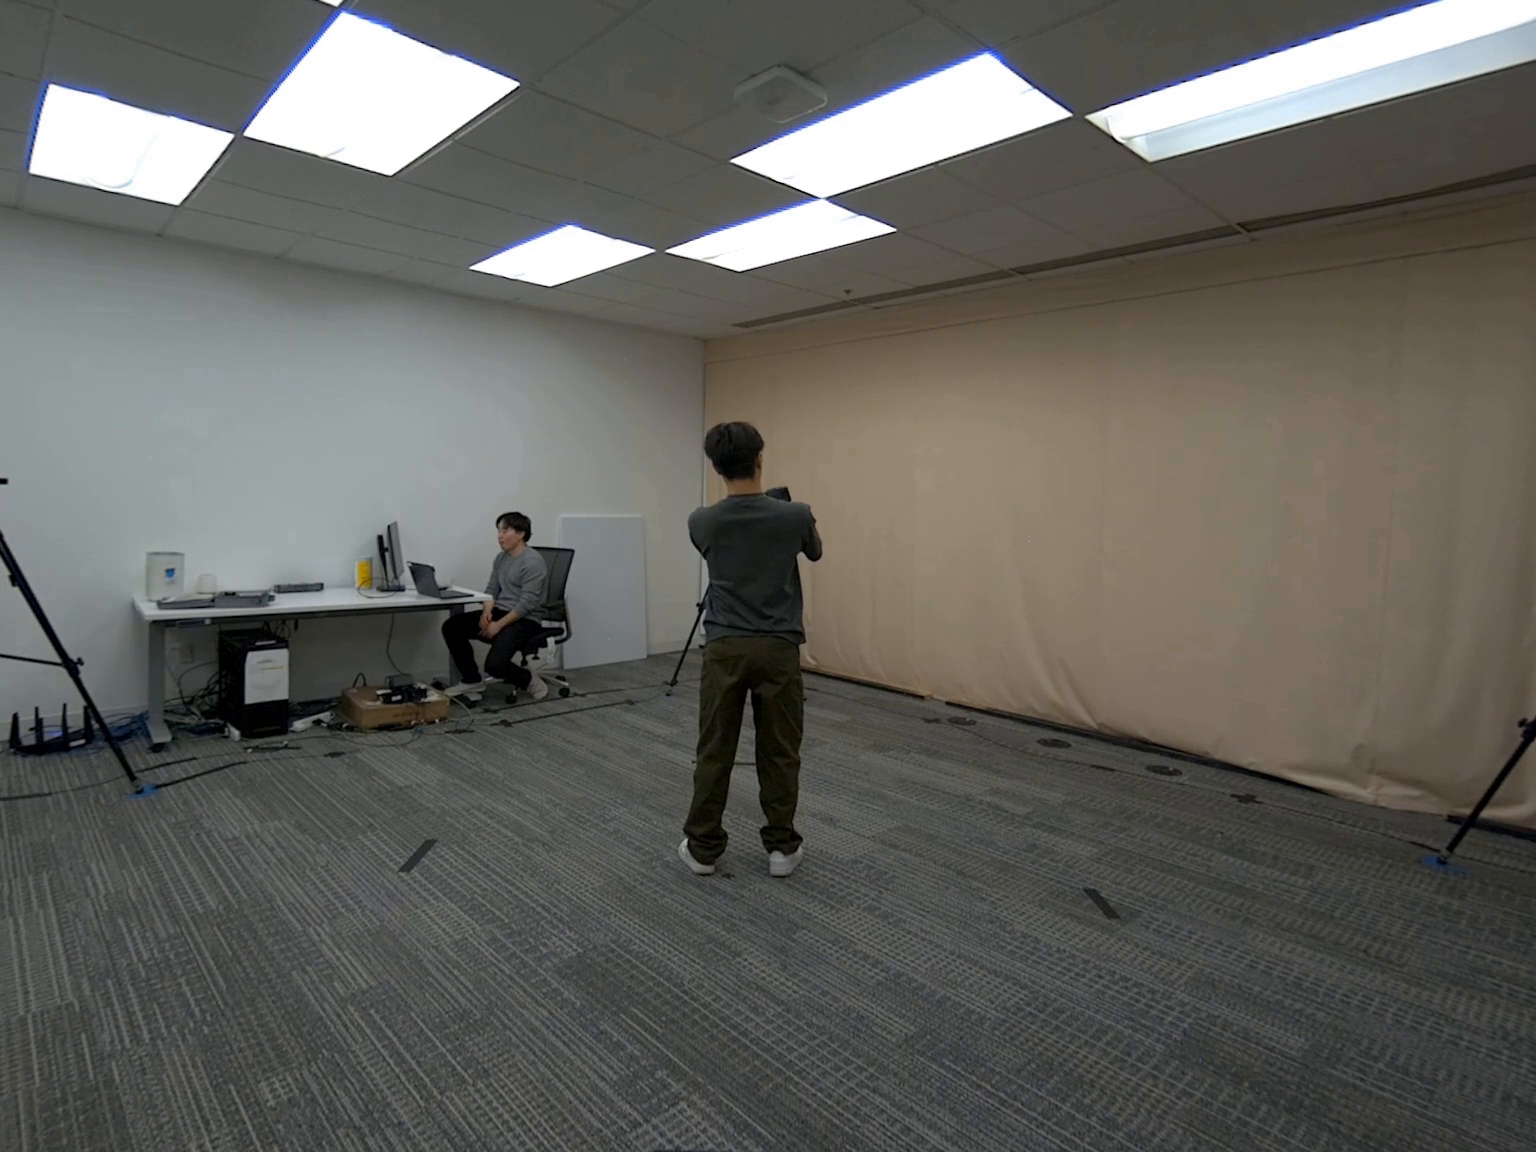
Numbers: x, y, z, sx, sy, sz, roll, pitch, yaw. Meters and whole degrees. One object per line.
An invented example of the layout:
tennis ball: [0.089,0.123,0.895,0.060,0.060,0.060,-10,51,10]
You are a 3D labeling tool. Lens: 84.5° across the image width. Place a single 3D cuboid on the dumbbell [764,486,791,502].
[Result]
dumbbell: [0.070,-0.230,3.582,0.124,0.295,0.107,-19,-4,20]
